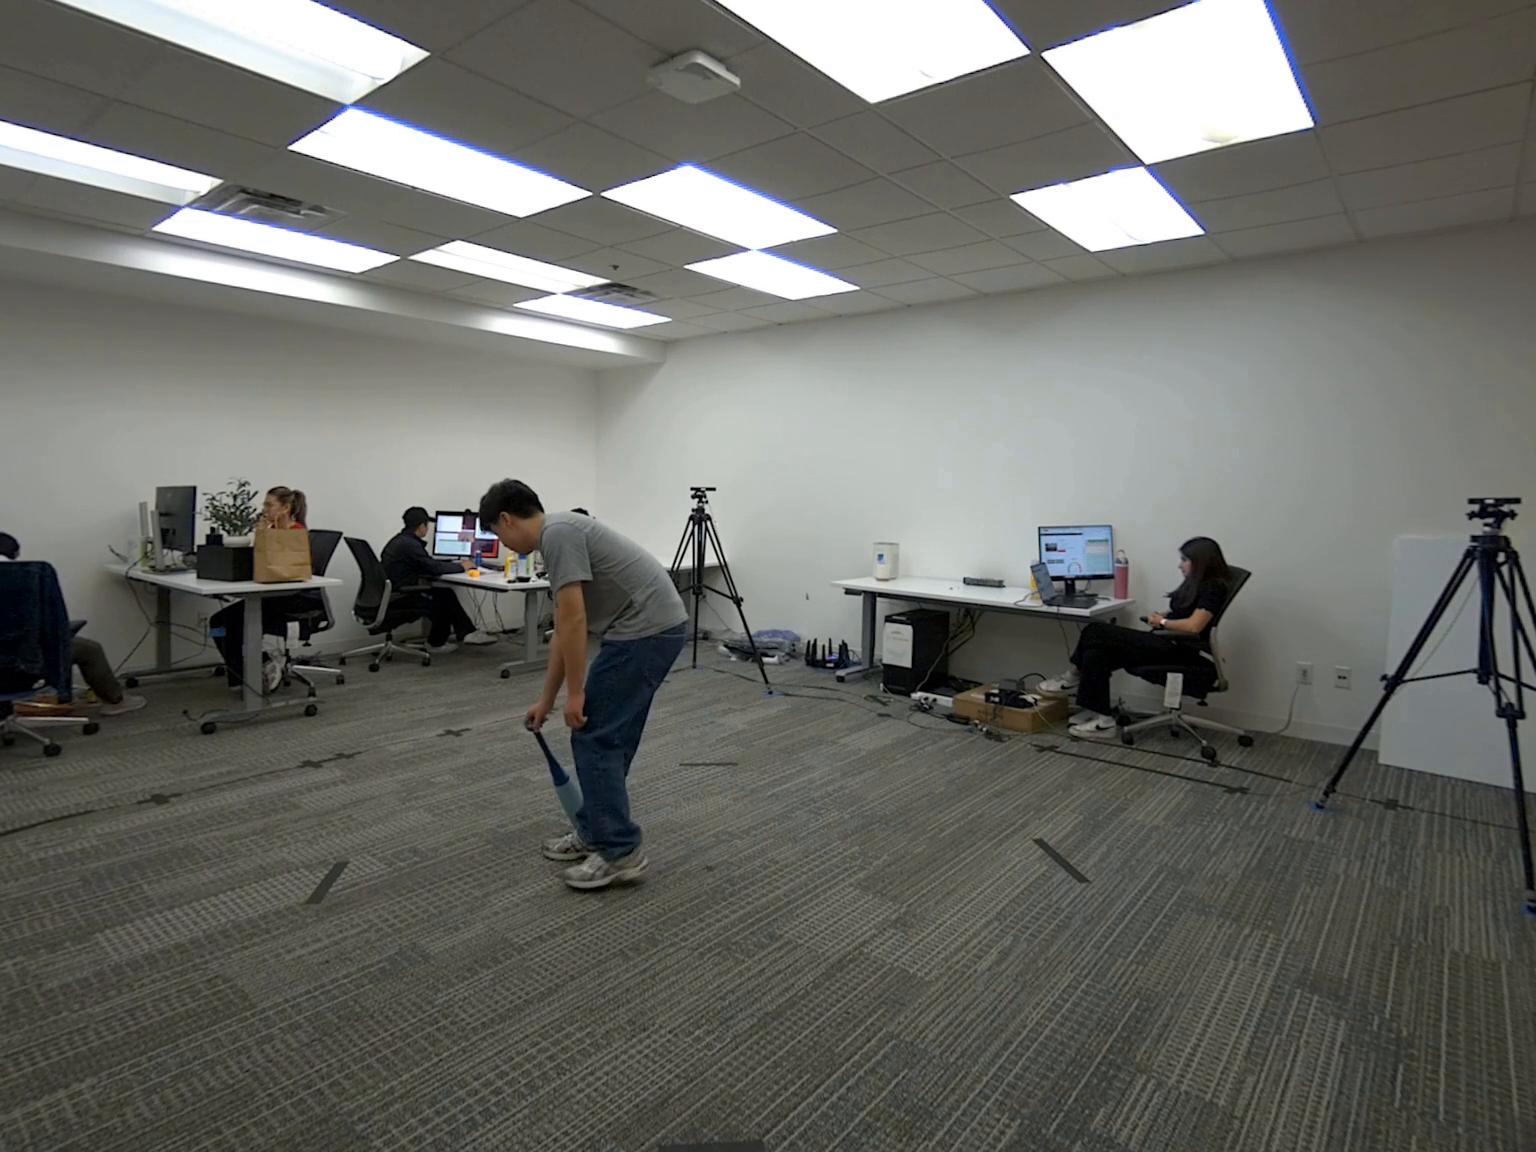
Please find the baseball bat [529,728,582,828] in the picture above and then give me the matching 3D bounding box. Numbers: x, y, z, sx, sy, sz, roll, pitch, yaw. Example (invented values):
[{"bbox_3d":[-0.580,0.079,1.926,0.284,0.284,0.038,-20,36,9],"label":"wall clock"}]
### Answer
[{"bbox_3d":[-0.825,0.787,3.342,0.089,0.528,0.091,-18,24,7],"label":"baseball bat"}]
